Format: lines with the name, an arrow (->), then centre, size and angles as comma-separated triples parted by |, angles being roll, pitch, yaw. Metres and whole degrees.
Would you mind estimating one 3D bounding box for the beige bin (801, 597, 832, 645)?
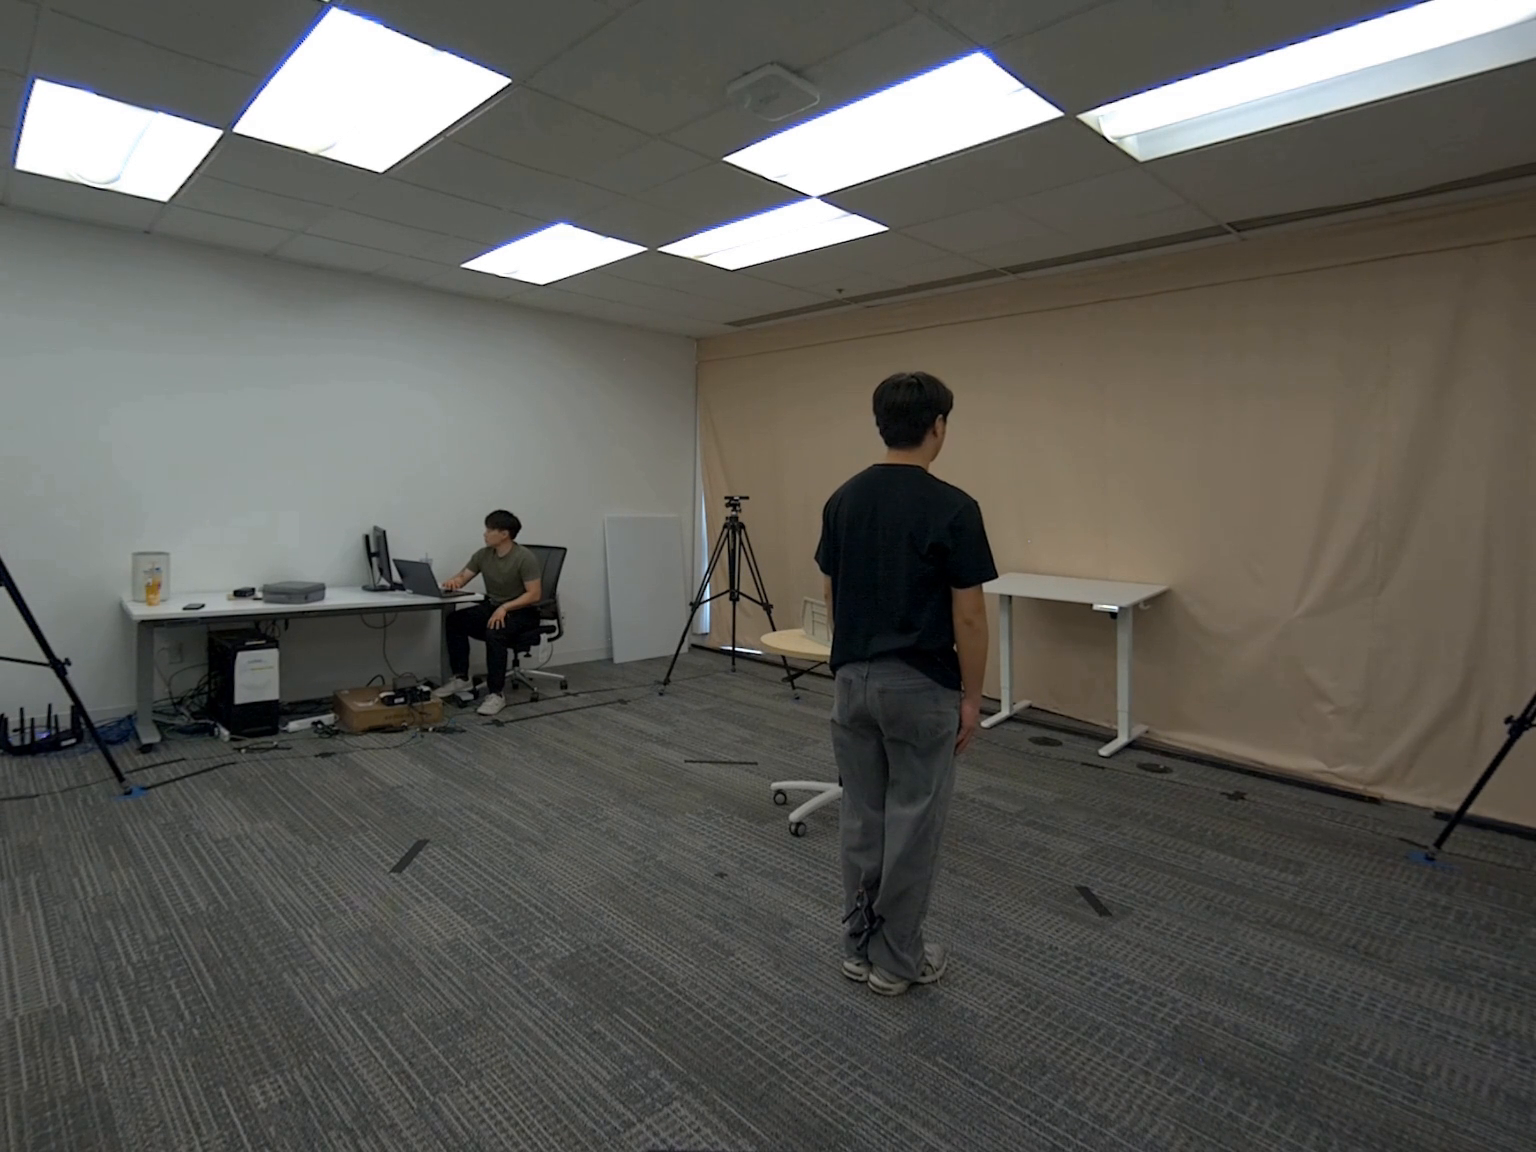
beige bin -> 0.402, 0.195, 3.692 | 0.416, 0.188, 0.384 | -1, 6, -19
